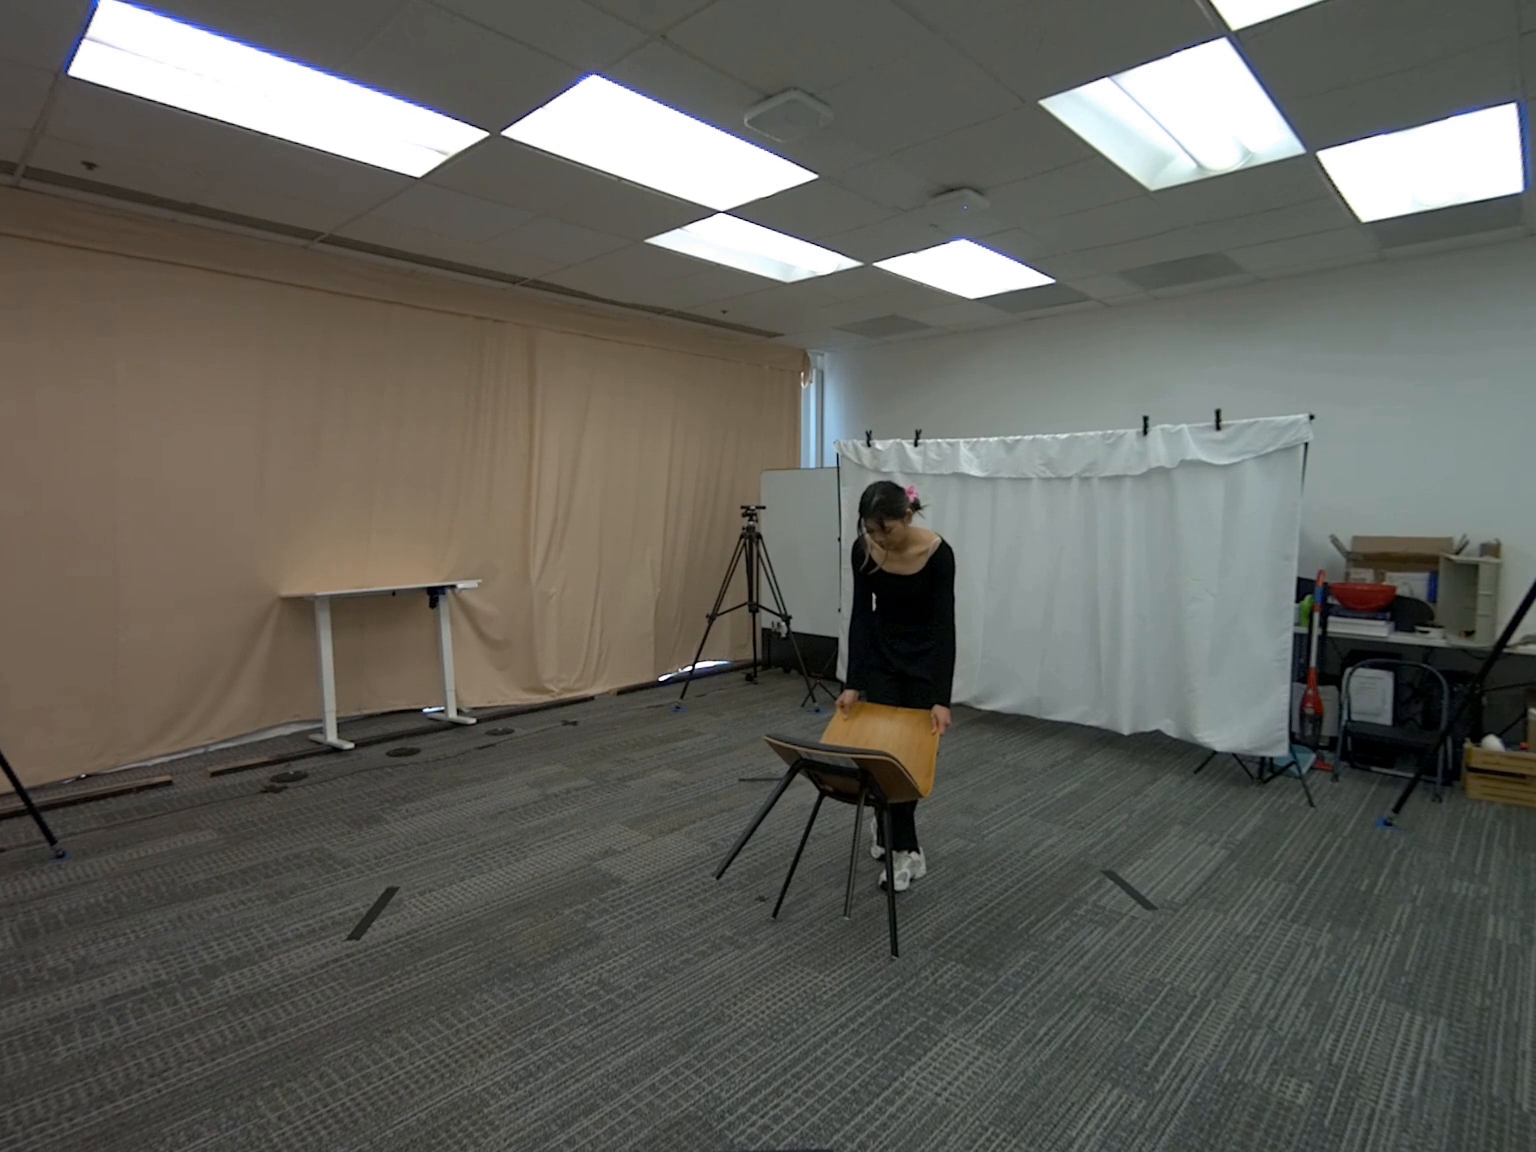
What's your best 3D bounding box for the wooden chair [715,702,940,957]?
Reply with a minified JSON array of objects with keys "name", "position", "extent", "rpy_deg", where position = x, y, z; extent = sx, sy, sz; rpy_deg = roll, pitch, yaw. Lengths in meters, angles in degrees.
[{"name":"wooden chair","position":[0.244,0.678,2.744],"extent":[0.493,0.880,0.506],"rpy_deg":[2,-37,33]}]
